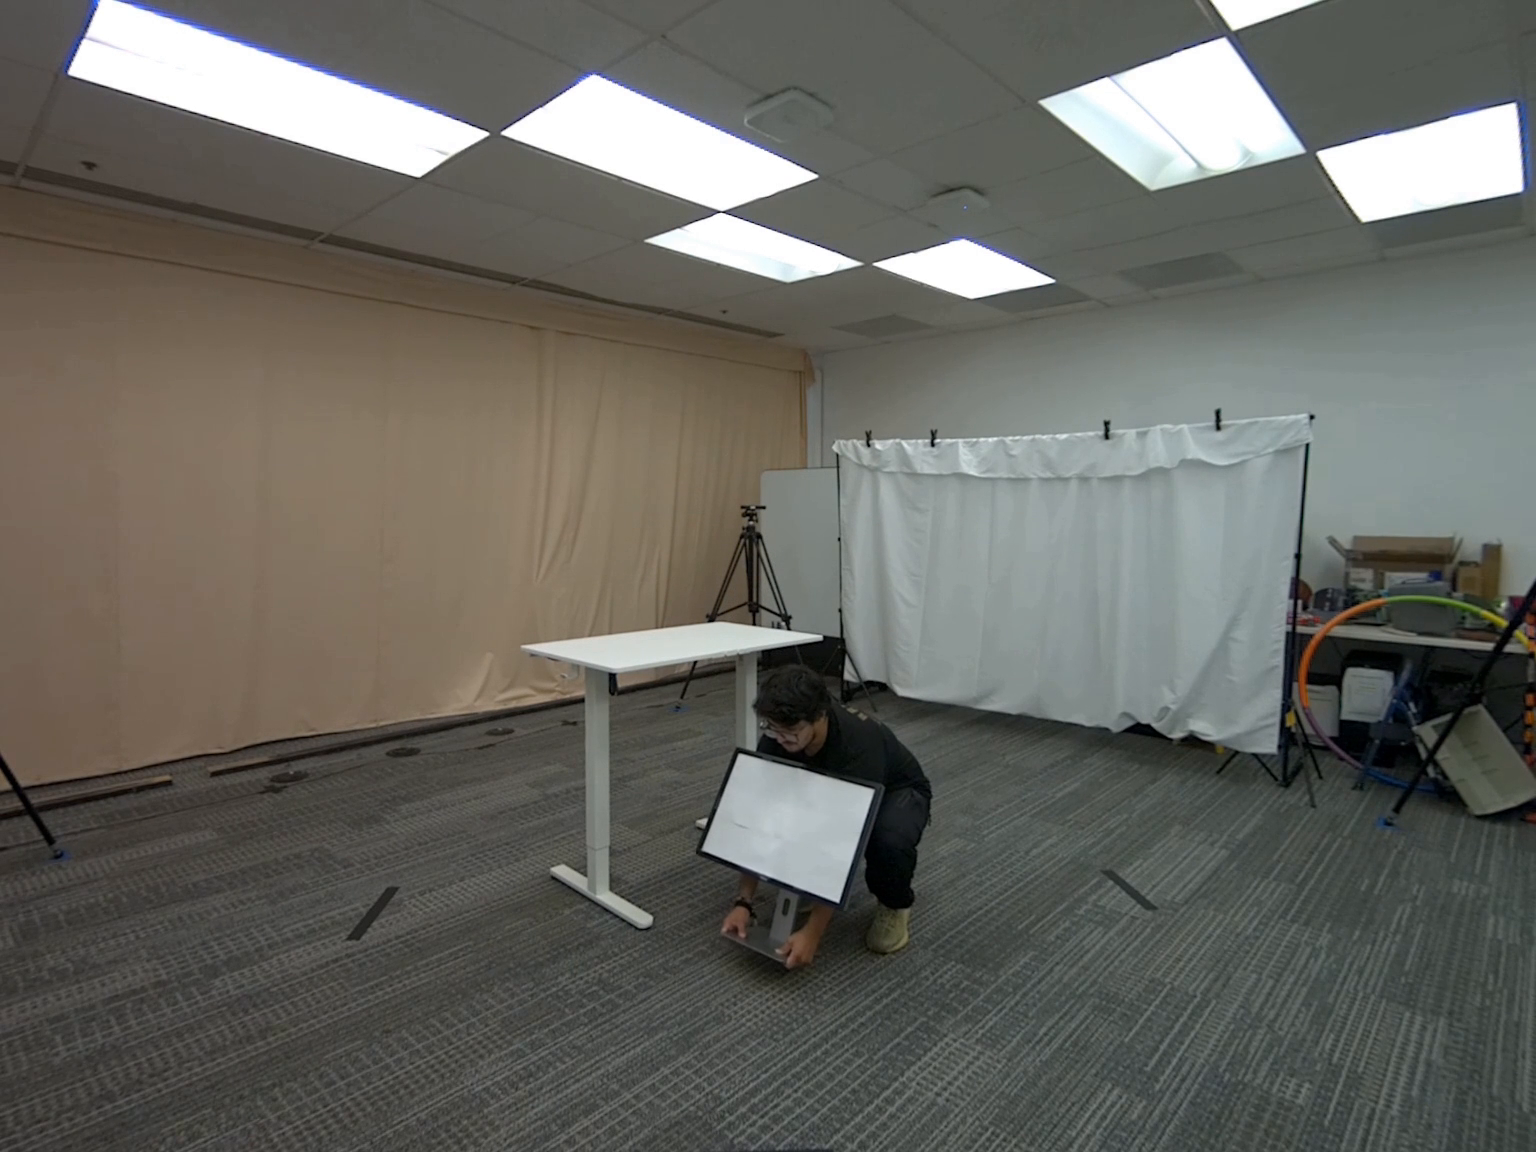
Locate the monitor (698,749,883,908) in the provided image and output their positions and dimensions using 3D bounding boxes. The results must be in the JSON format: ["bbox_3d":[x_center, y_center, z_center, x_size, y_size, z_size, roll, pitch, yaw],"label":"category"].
[{"bbox_3d":[0.071,0.853,2.591,0.584,0.556,0.202,4,-20,41],"label":"monitor"}]
